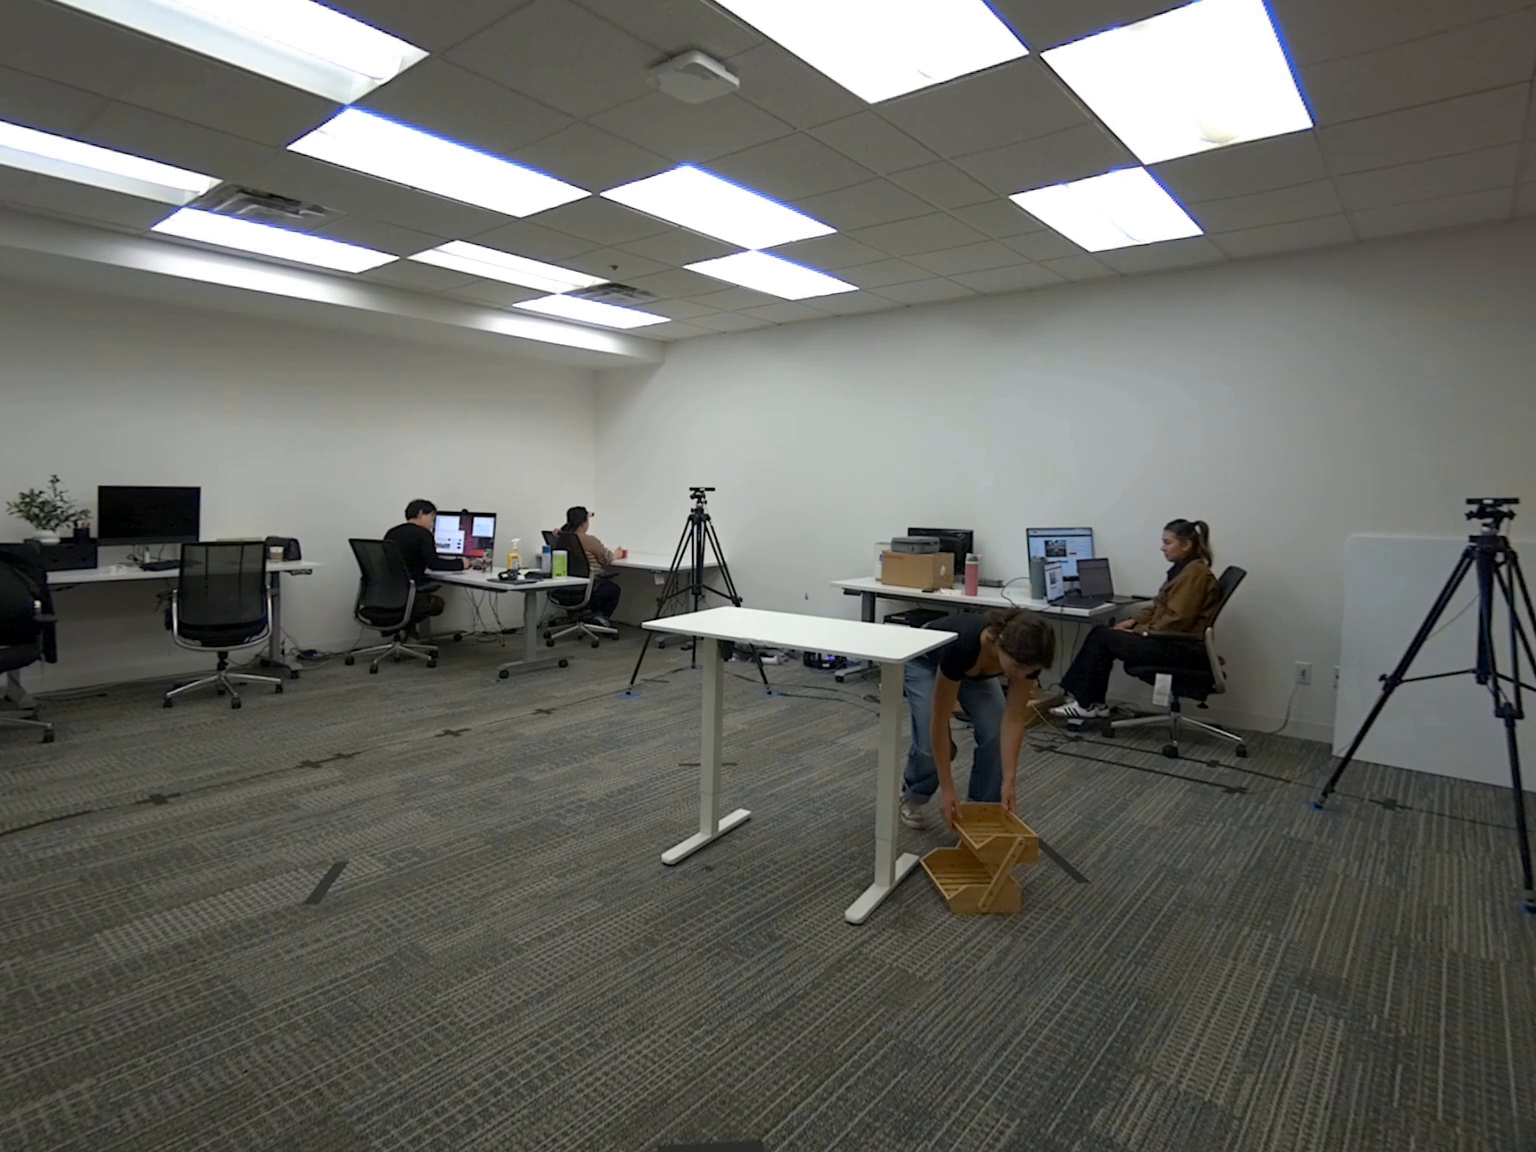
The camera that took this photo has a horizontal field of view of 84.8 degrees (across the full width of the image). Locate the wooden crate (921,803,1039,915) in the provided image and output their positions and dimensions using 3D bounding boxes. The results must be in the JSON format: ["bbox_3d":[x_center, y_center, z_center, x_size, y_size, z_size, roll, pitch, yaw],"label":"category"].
[{"bbox_3d":[0.702,0.957,2.976,0.300,0.272,0.328,2,5,-7],"label":"wooden crate"}]
